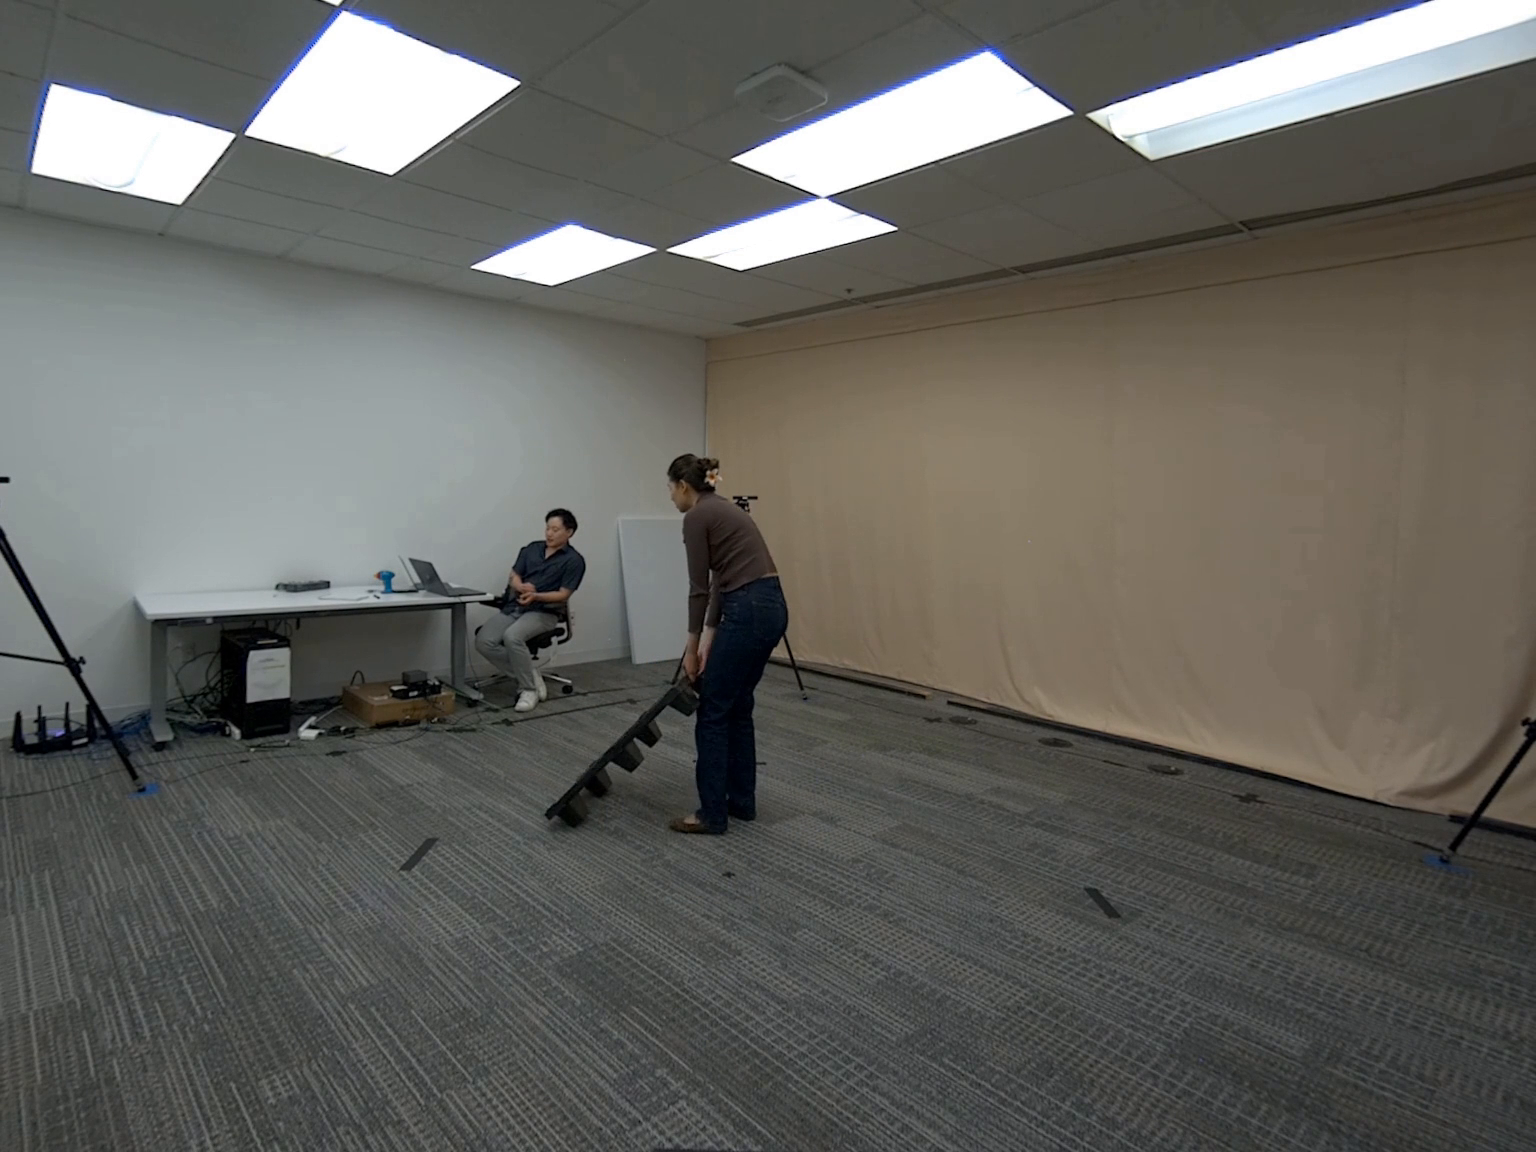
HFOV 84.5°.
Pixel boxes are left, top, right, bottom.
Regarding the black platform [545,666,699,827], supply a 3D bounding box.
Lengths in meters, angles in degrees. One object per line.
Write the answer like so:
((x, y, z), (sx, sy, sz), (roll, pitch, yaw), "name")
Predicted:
((-0.581, 0.729, 3.706), (0.143, 0.805, 0.605), (44, 6, -1), "black platform")
